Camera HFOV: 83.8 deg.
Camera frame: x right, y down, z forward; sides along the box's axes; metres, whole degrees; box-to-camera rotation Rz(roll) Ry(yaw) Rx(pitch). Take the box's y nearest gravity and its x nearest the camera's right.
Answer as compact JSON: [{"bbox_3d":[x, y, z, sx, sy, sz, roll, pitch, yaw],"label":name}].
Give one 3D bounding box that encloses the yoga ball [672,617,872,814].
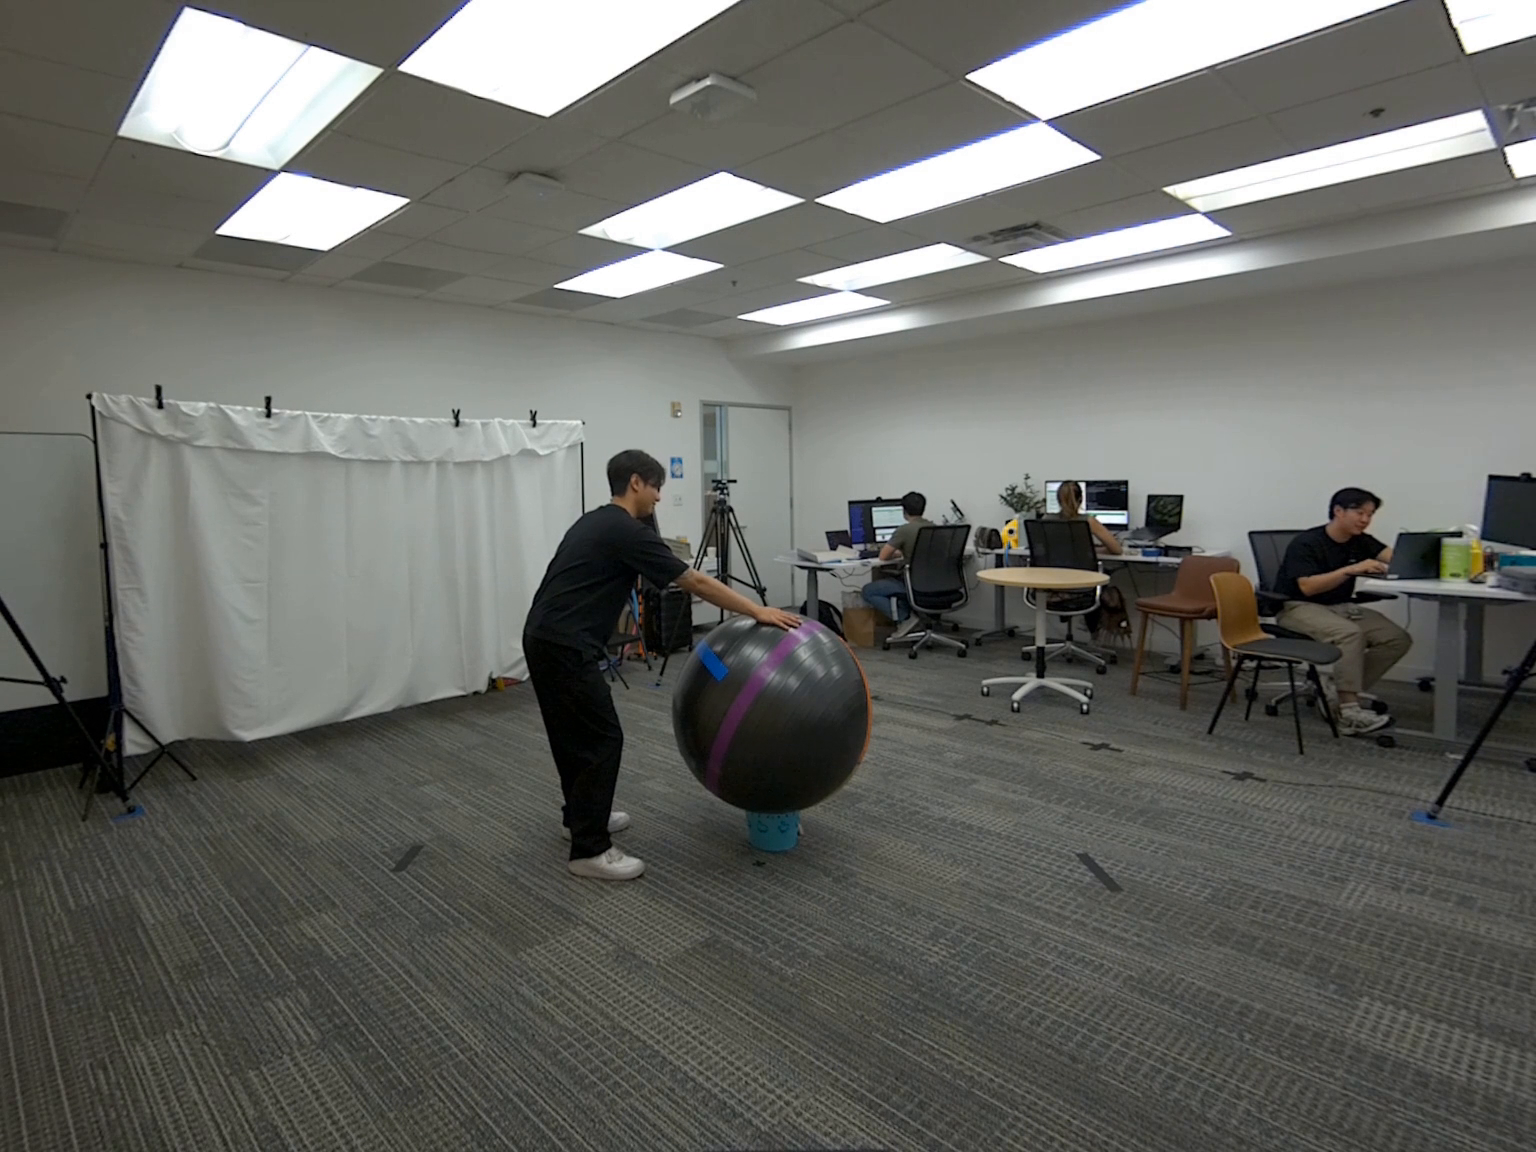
[{"bbox_3d":[0.025,0.521,3.275,0.757,0.755,0.762,-1,5,-2],"label":"yoga ball"}]
